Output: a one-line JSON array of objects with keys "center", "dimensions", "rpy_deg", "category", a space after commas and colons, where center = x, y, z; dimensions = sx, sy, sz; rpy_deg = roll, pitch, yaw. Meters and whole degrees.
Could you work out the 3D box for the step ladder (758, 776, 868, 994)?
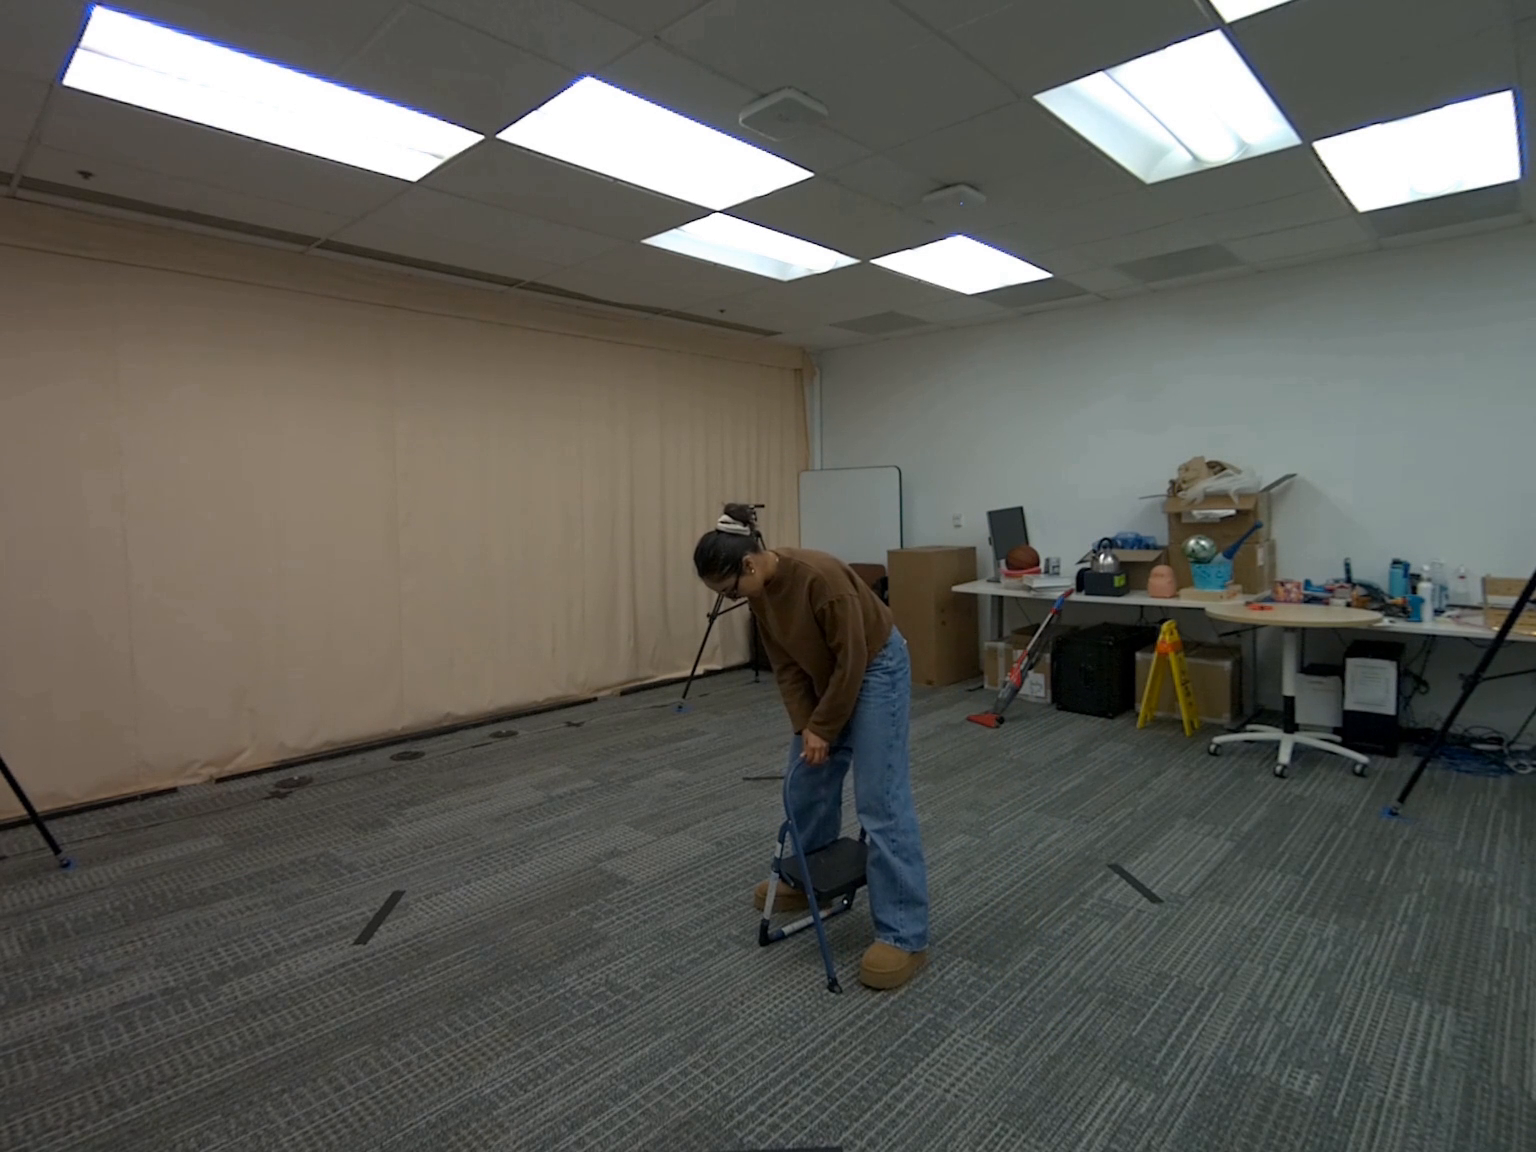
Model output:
[{"center": [0.232, 0.866, 2.637], "dimensions": [0.417, 0.605, 0.361], "rpy_deg": [-3, 4, -40], "category": "step ladder"}]
